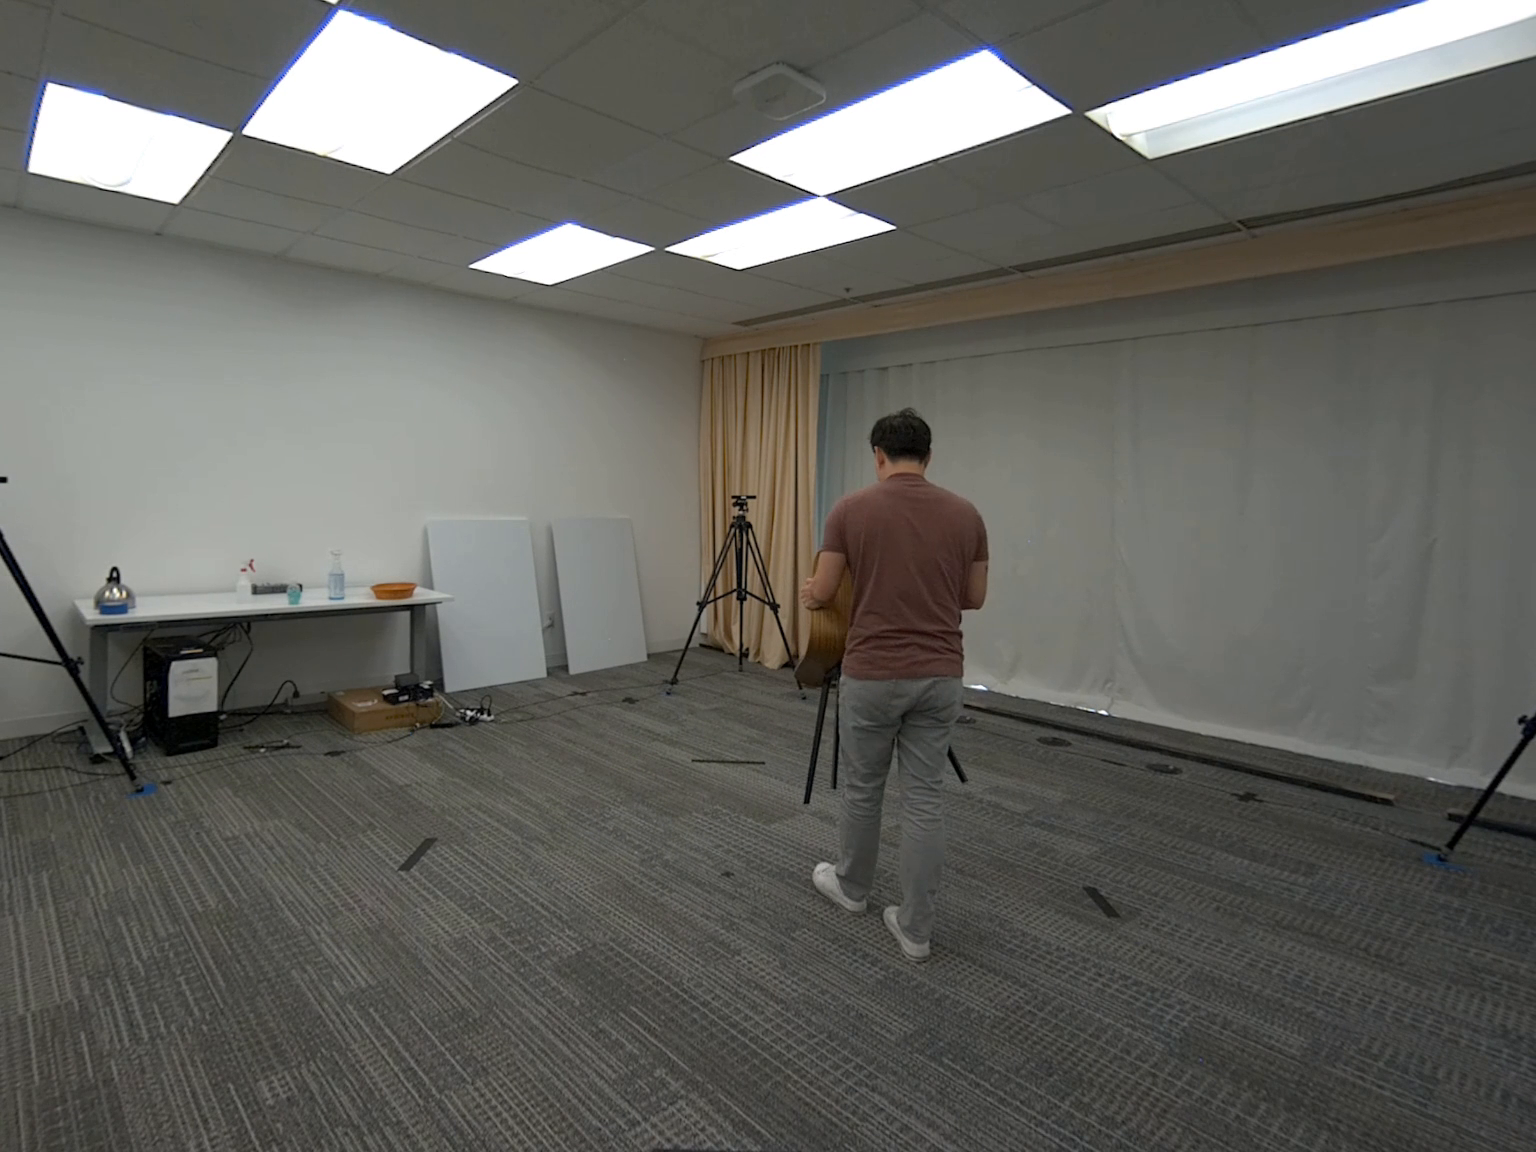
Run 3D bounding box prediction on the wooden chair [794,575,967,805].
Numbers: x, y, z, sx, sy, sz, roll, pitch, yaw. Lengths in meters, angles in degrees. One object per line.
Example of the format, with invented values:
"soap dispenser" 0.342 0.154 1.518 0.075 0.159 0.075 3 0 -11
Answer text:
"wooden chair" 0.331 0.352 3.049 0.475 0.889 0.519 -1 -18 -8
